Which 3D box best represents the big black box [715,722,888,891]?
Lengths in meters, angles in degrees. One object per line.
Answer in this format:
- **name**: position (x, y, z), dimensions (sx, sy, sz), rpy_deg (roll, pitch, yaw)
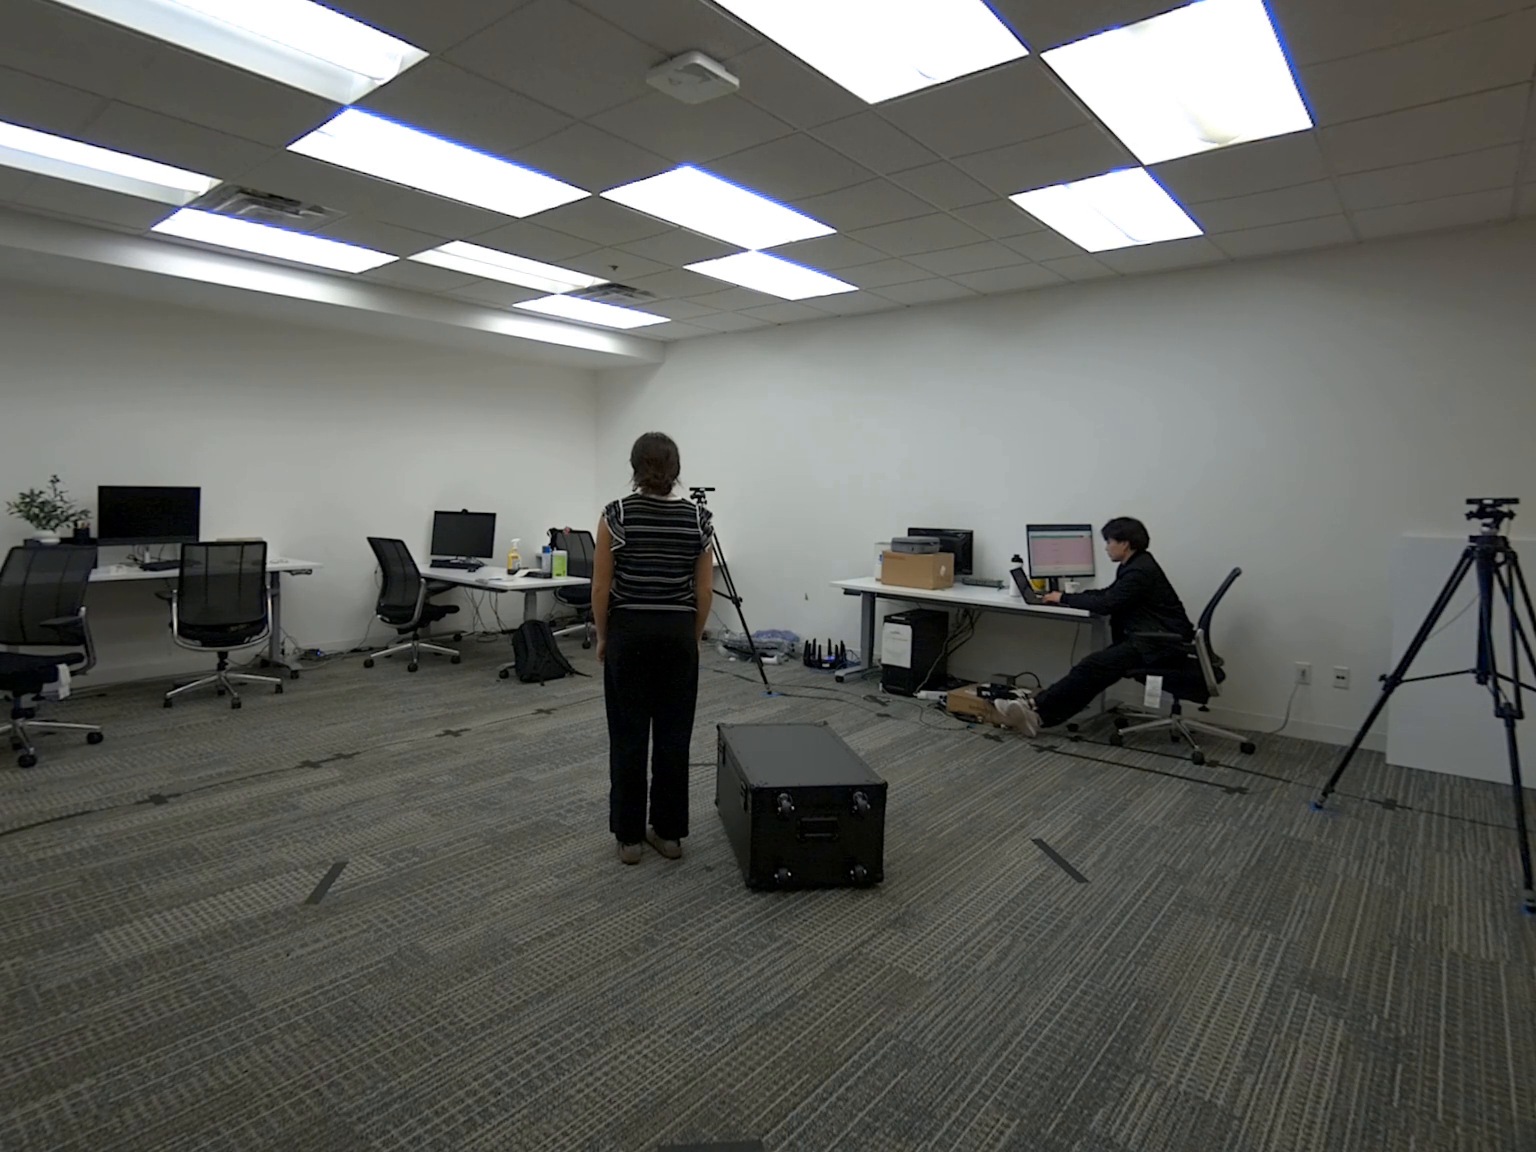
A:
- **big black box**: position (0.088, 0.862, 3.285), dimensions (0.515, 0.395, 0.875), rpy_deg (0, 5, -12)
